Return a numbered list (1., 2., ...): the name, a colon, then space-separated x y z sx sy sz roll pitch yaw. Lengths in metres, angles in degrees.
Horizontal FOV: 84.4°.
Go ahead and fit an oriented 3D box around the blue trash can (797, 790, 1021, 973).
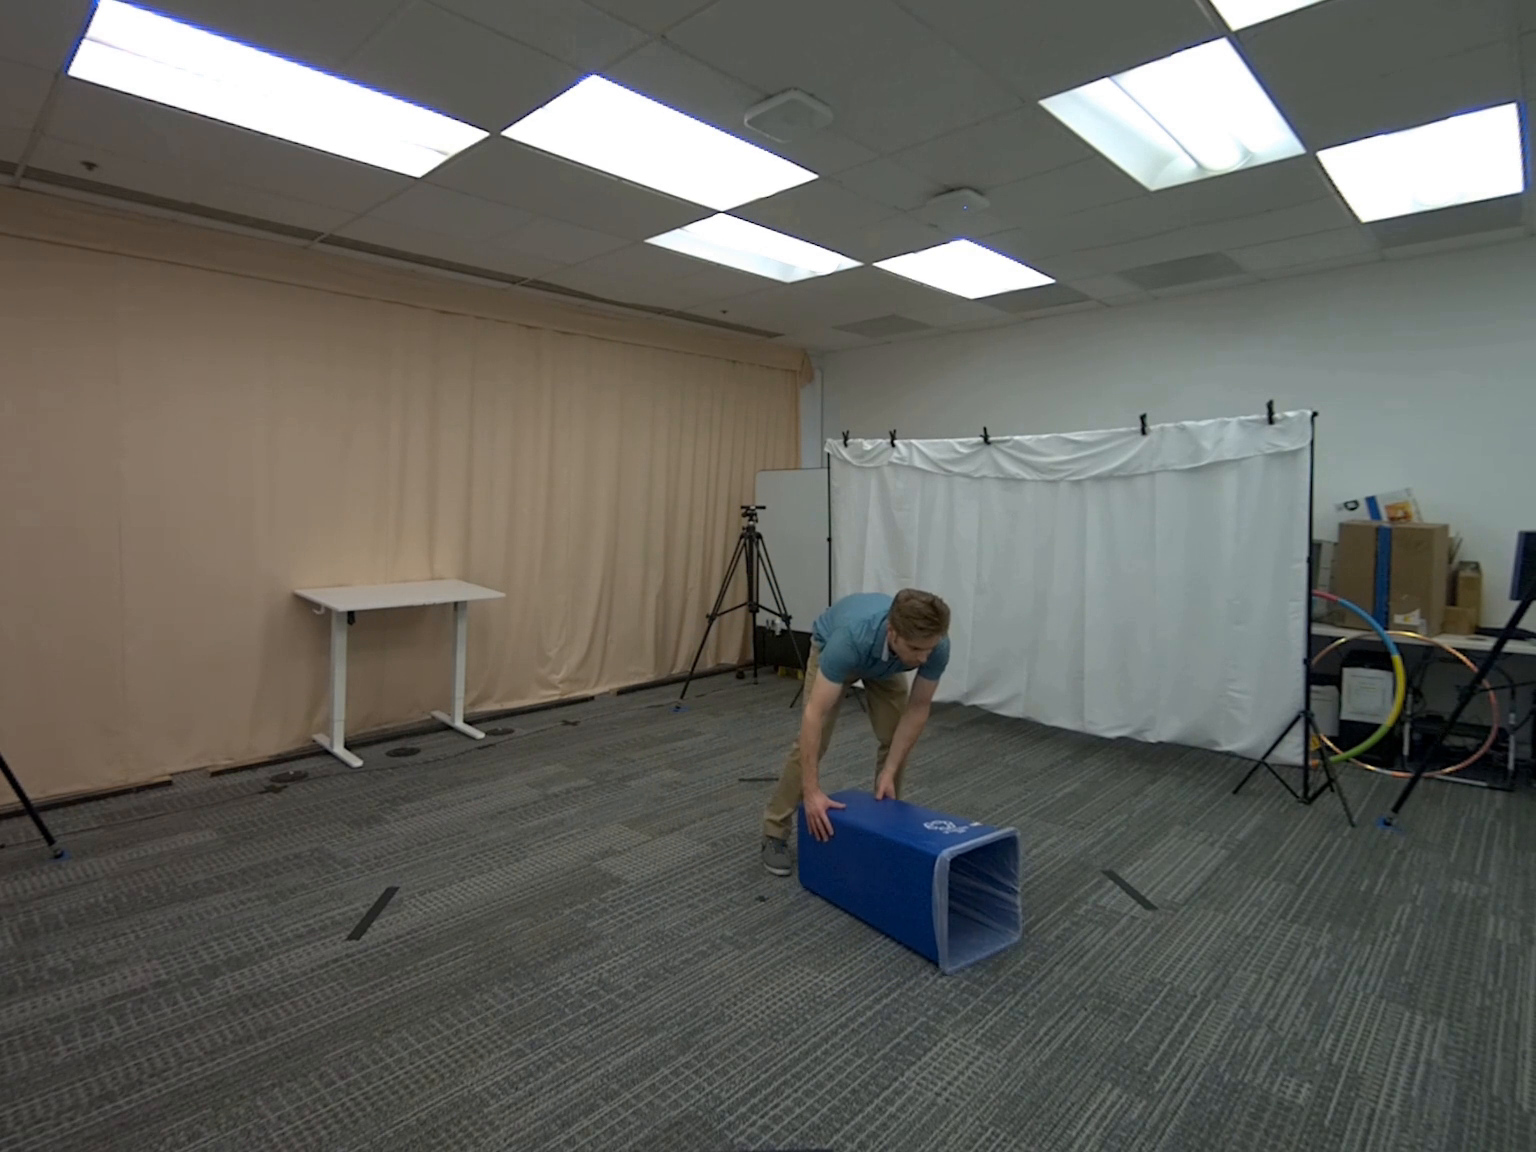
1. blue trash can: 0.451 0.988 2.860 0.363 0.378 0.736 -2 2 -38
